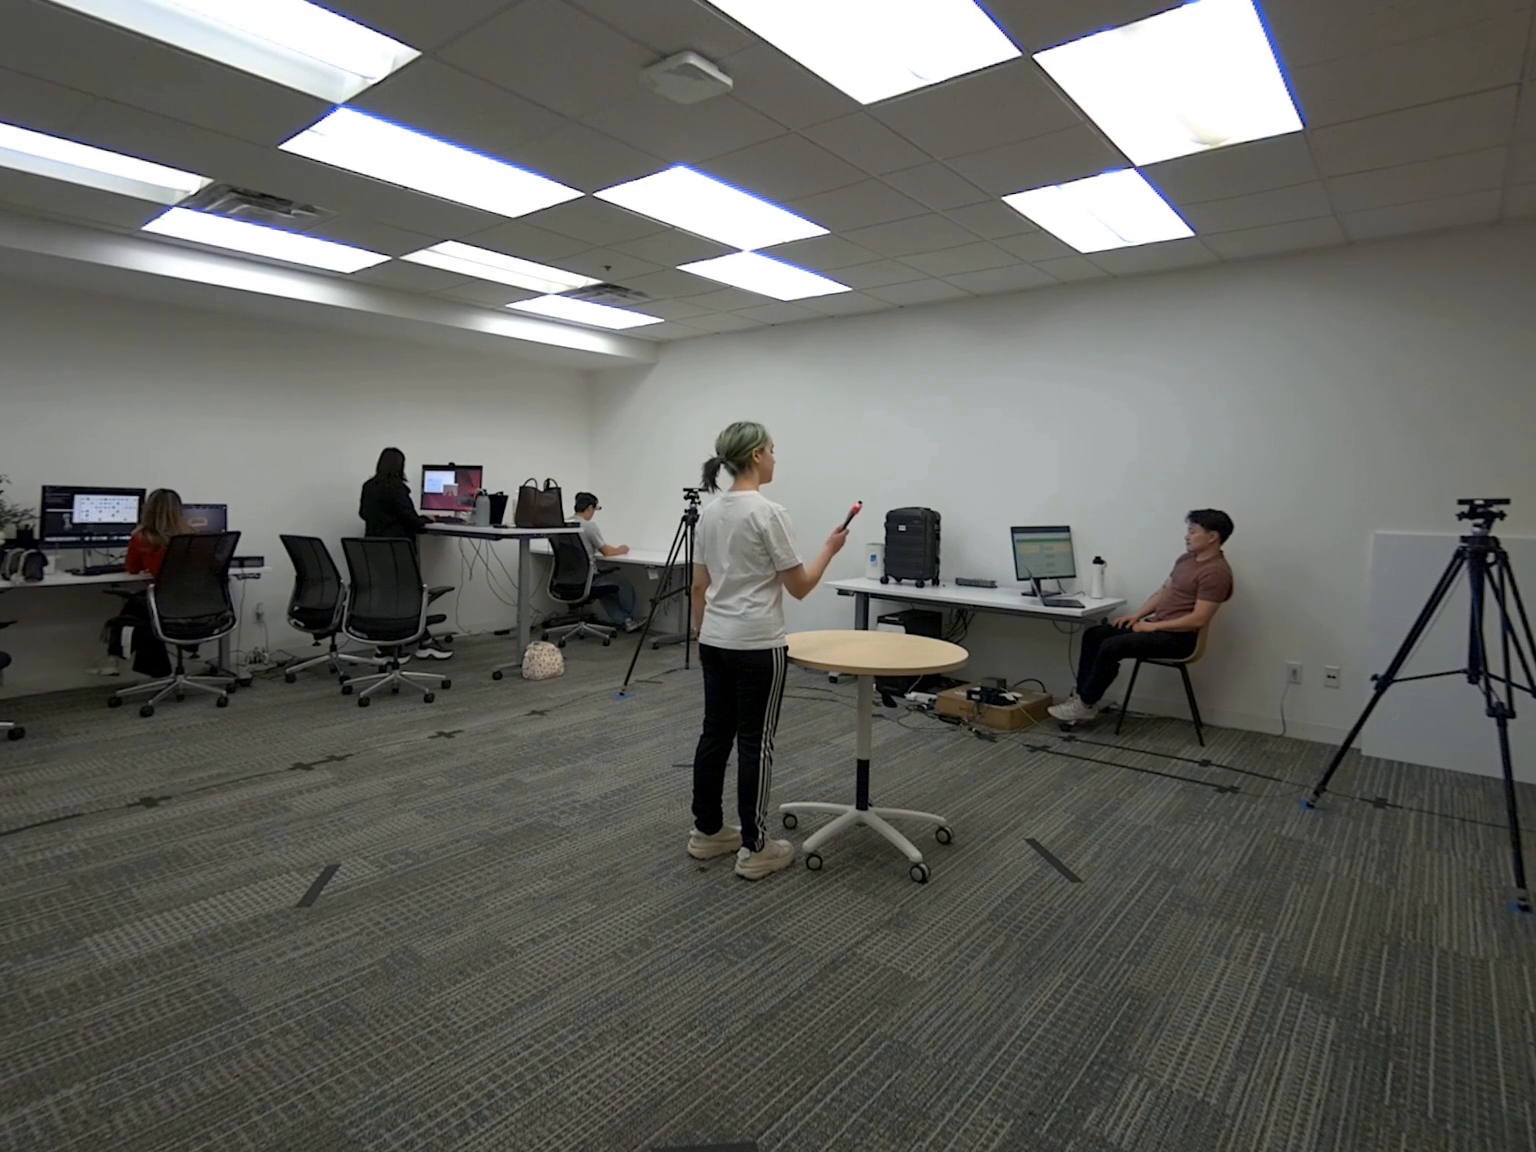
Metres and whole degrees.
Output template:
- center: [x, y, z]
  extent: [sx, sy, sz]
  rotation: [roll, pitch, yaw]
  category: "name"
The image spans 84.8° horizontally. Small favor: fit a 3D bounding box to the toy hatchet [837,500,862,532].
- center: [0.279, -0.171, 3.282]
  extent: [0.029, 0.269, 0.132]
  rotation: [33, 20, -4]
  category: "toy hatchet"
